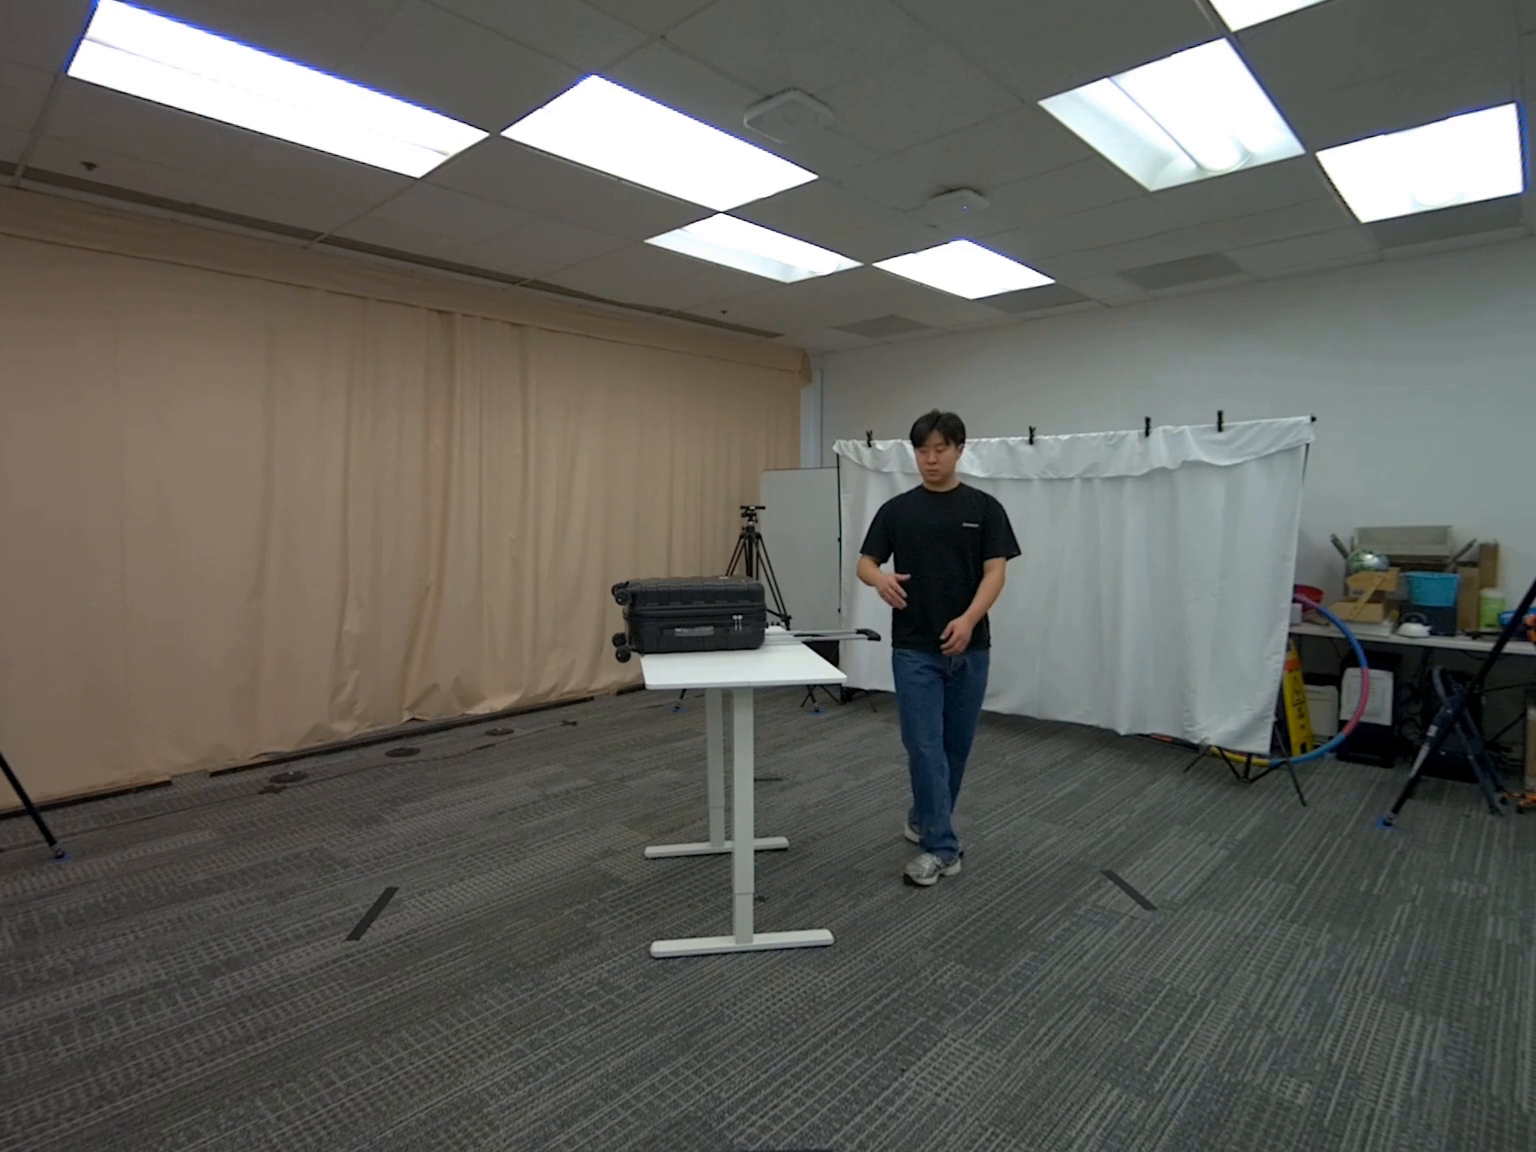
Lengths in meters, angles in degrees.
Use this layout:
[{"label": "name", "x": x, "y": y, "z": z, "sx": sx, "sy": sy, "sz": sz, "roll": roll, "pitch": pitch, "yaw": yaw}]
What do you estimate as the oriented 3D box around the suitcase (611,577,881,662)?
[{"label": "suitcase", "x": -0.088, "y": 0.127, "z": 3.112, "sx": 0.968, "sy": 0.256, "sz": 0.389, "roll": -4, "pitch": 4, "yaw": -11}]
